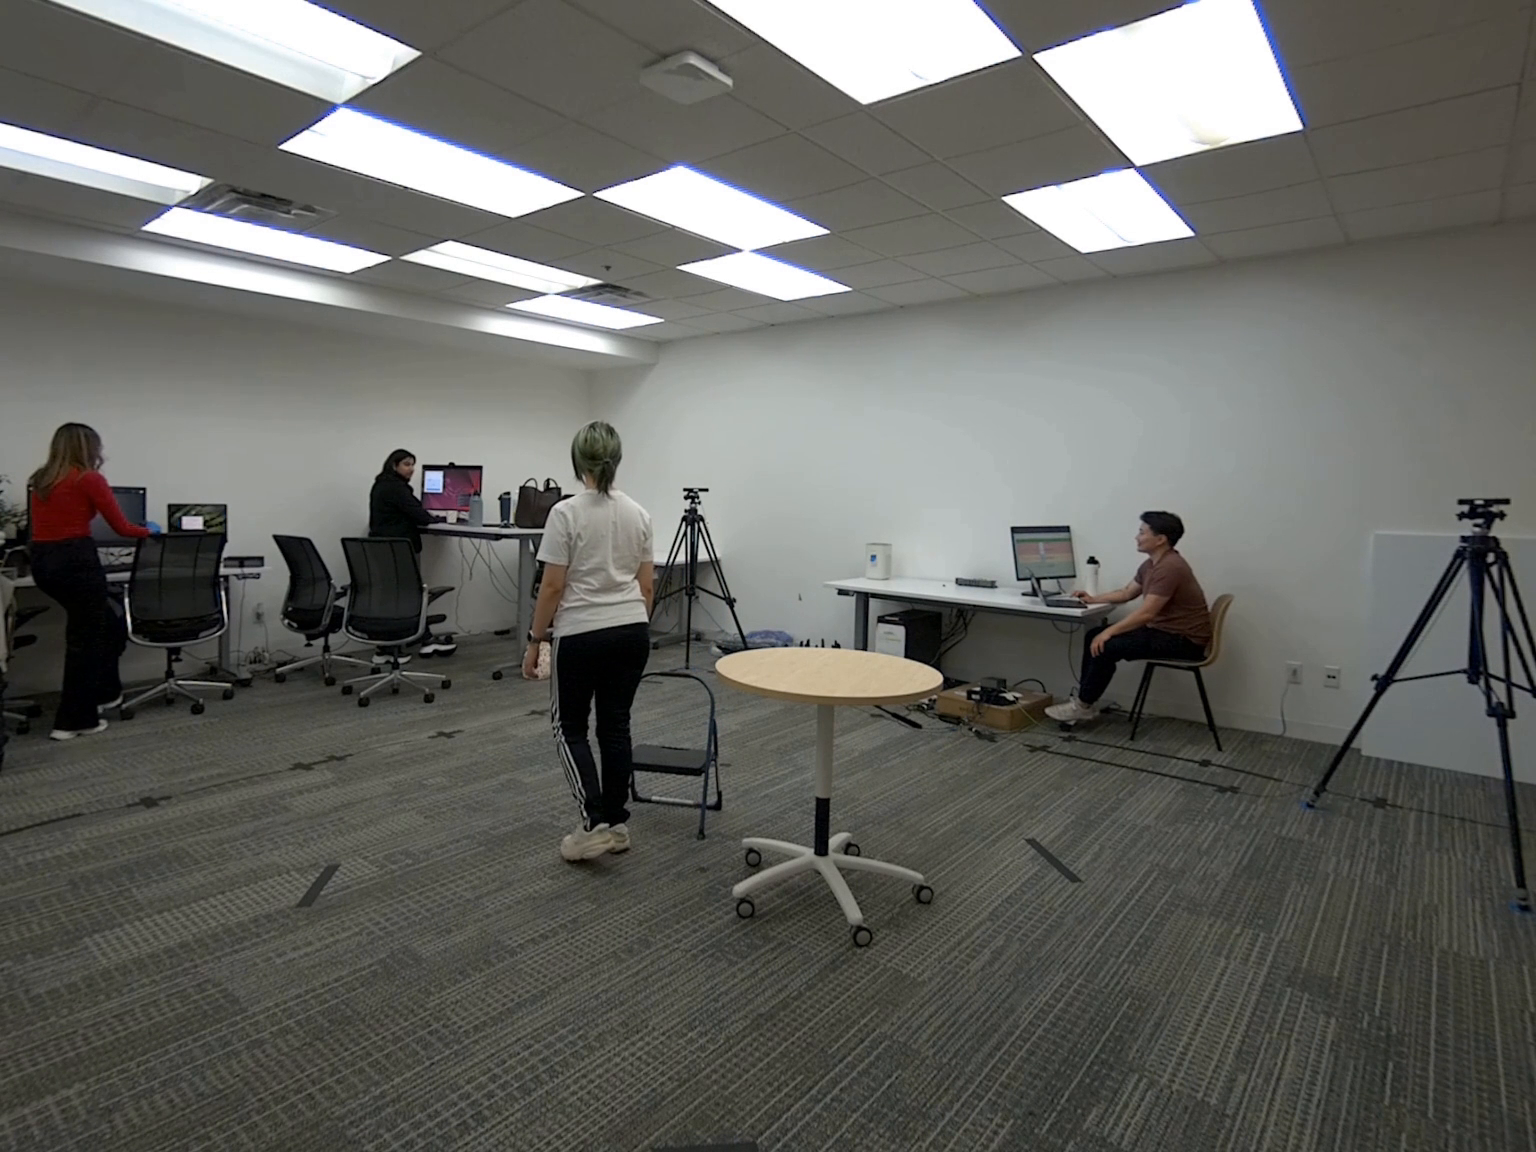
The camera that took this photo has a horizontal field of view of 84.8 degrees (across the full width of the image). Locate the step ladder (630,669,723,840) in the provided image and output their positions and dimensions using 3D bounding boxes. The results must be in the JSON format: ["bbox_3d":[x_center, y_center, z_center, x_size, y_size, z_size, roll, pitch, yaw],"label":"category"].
[{"bbox_3d":[-0.433,0.718,3.576,0.437,0.604,0.345,1,4,12],"label":"step ladder"}]
